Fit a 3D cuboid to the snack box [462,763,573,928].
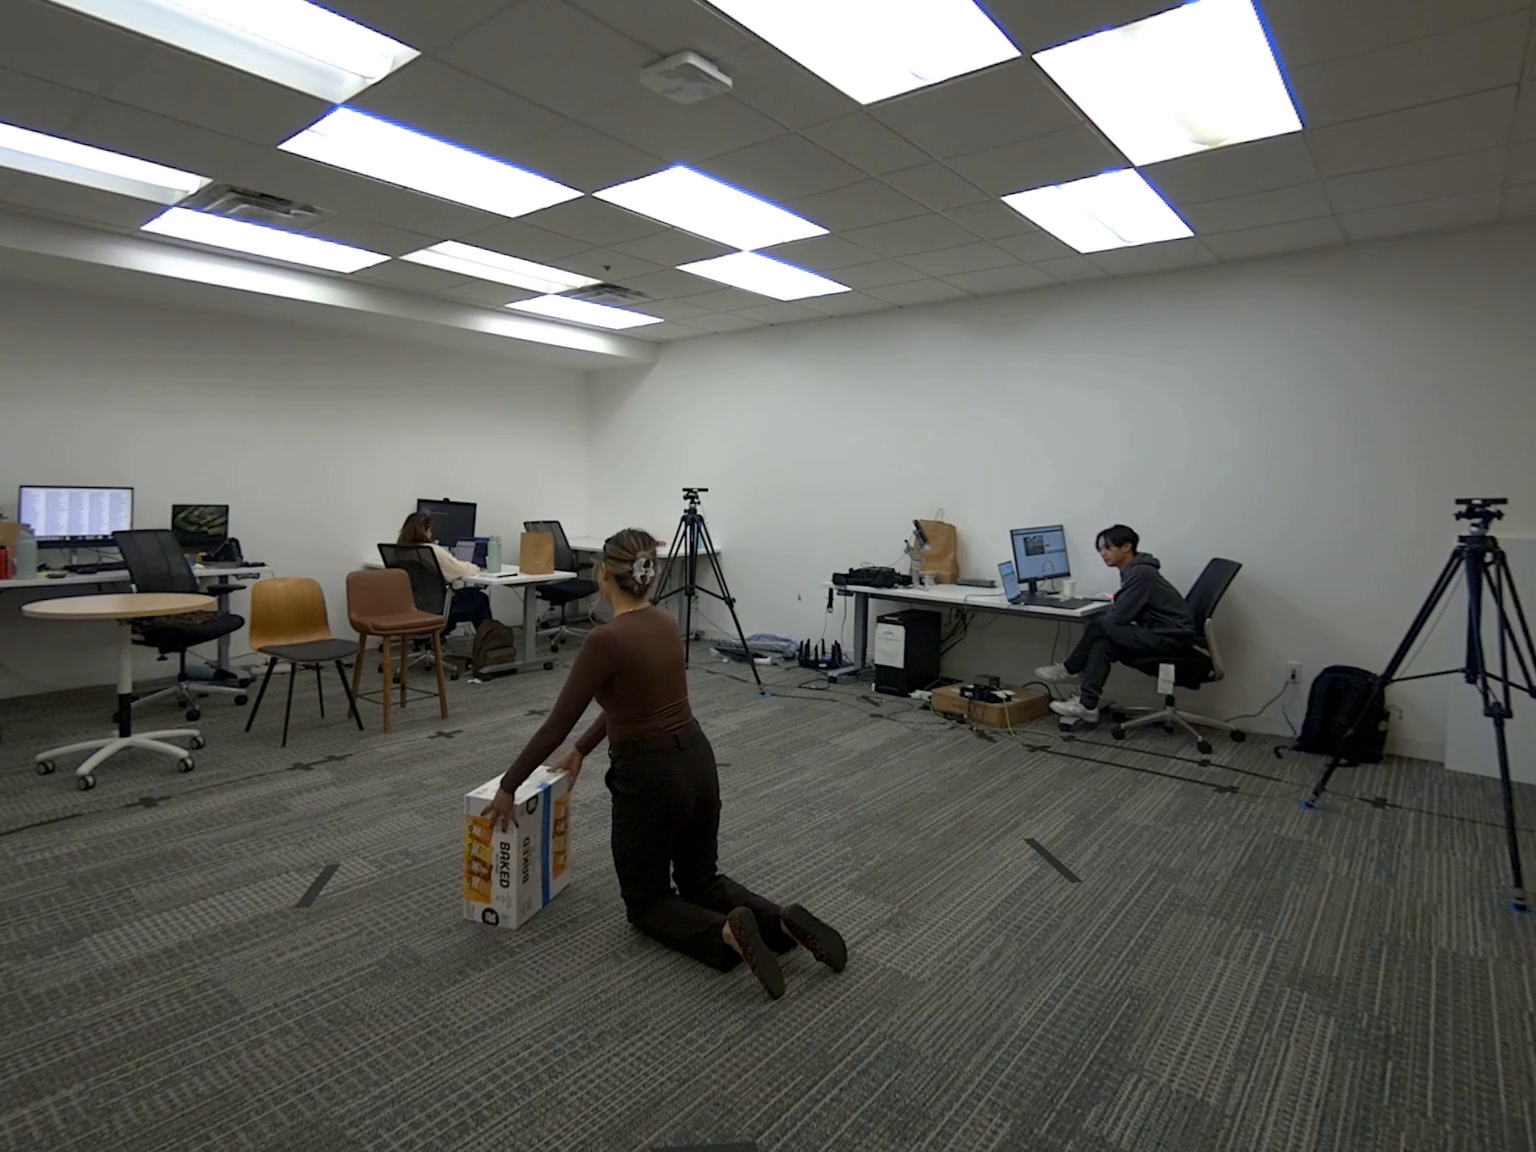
[{"bbox_3d":[-0.839,0.882,2.835,0.210,0.404,0.335,3,5,17],"label":"snack box"}]
